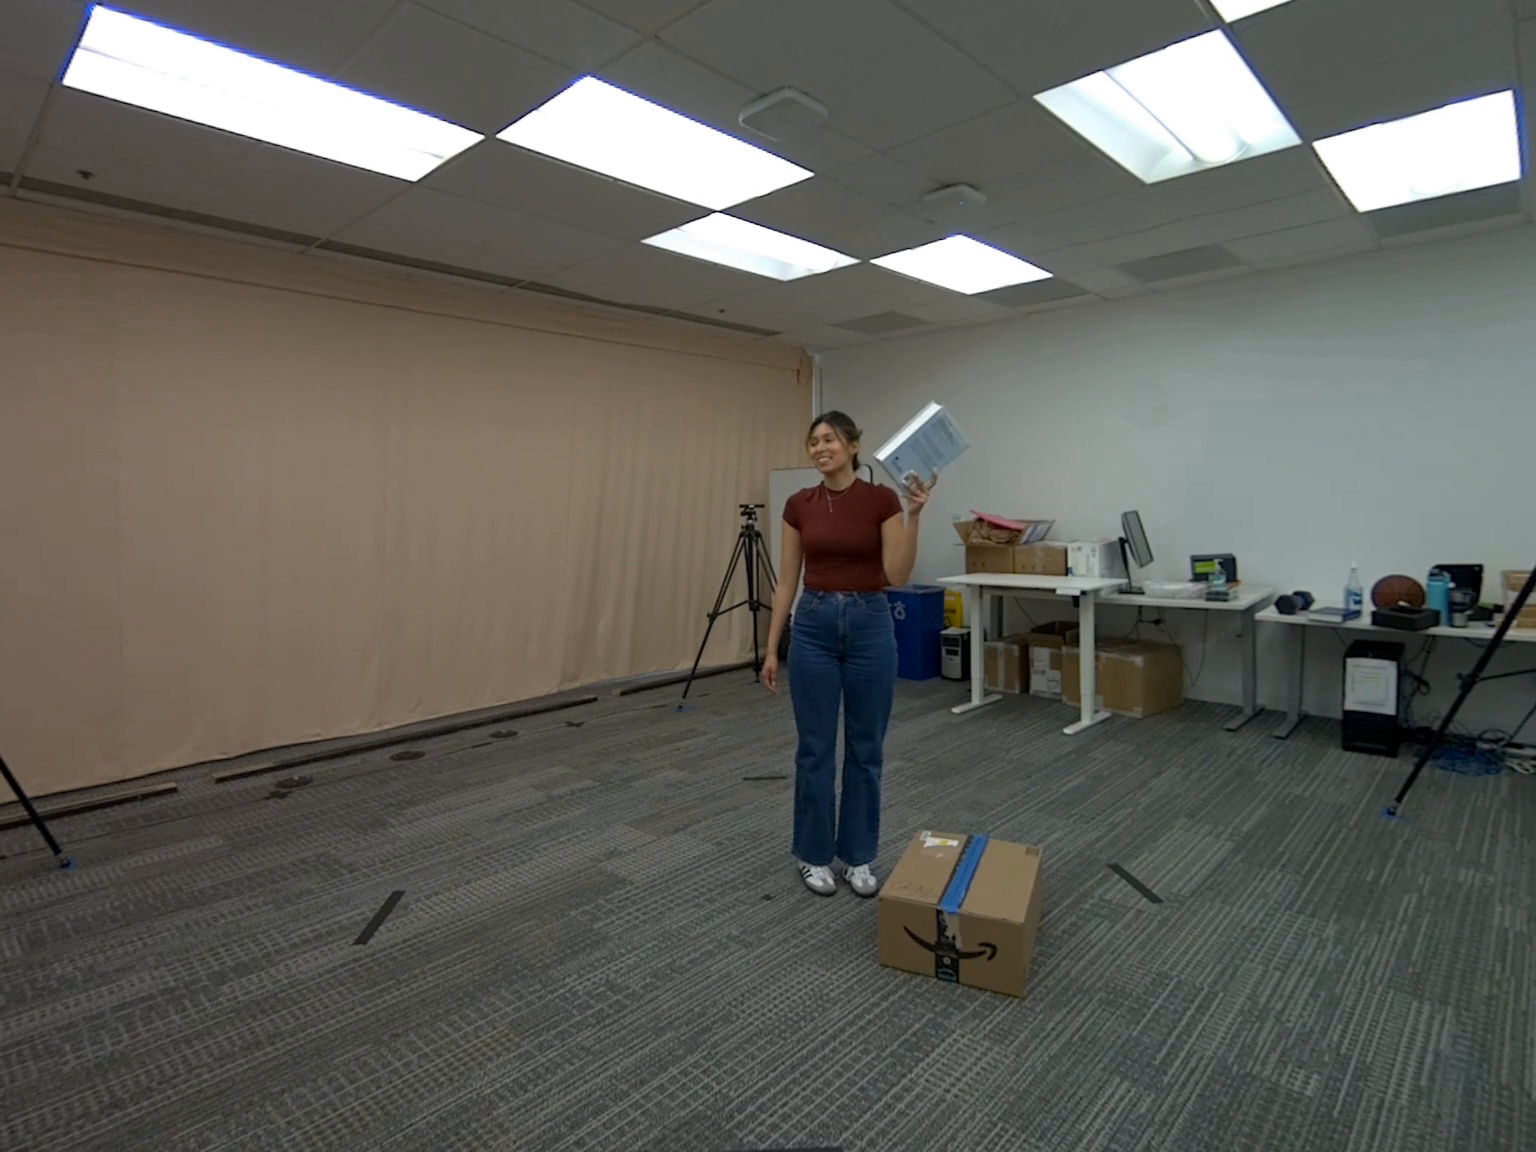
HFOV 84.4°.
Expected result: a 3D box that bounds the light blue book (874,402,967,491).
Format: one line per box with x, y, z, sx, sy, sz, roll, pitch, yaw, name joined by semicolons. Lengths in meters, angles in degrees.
0.508;-0.407;2.739;0.186;0.261;0.060;45;4;-26;light blue book
